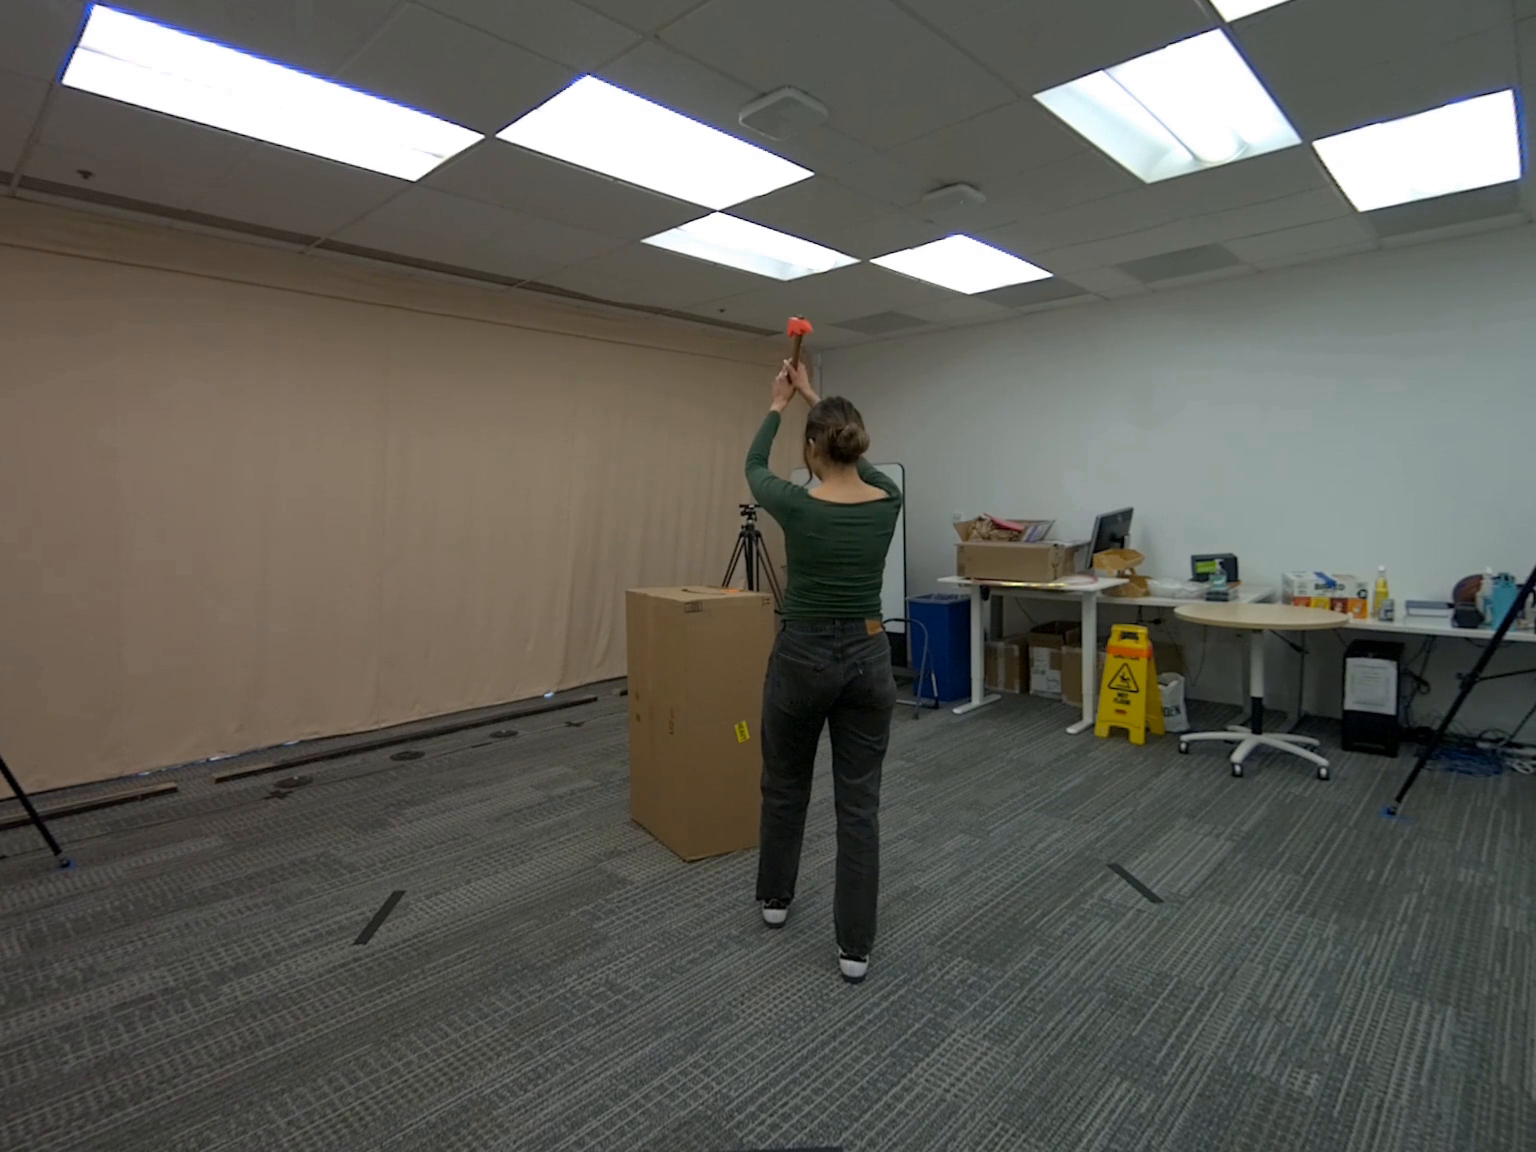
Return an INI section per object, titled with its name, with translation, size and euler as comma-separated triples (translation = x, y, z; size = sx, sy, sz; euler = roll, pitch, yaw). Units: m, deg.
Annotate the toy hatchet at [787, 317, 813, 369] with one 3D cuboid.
[toy hatchet]
translation = 0.073, -0.713, 2.749
size = 0.029, 0.268, 0.135
euler = -12, 52, -31
